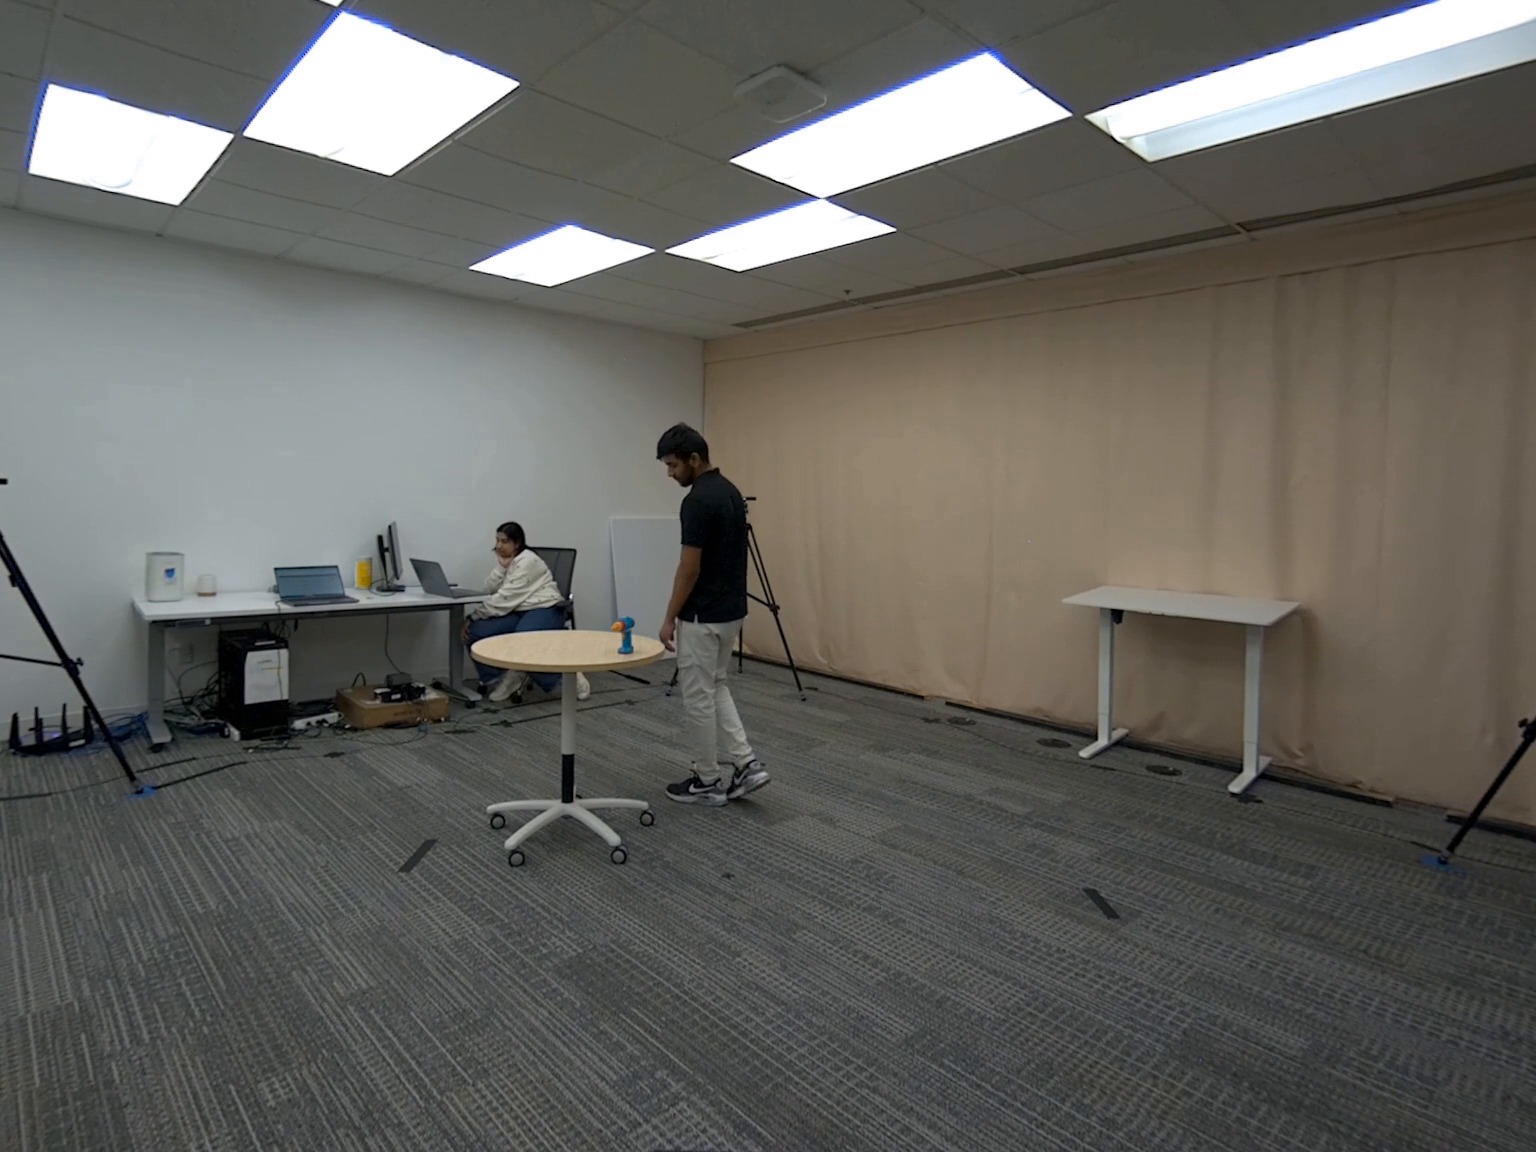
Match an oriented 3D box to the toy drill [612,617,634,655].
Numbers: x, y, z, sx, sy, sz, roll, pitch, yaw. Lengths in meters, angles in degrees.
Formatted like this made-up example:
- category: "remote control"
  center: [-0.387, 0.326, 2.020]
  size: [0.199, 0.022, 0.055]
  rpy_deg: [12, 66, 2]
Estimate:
- category: "toy drill"
  center: [-0.567, 0.233, 3.248]
  size: [0.062, 0.145, 0.168]
  rpy_deg: [2, 5, 13]
